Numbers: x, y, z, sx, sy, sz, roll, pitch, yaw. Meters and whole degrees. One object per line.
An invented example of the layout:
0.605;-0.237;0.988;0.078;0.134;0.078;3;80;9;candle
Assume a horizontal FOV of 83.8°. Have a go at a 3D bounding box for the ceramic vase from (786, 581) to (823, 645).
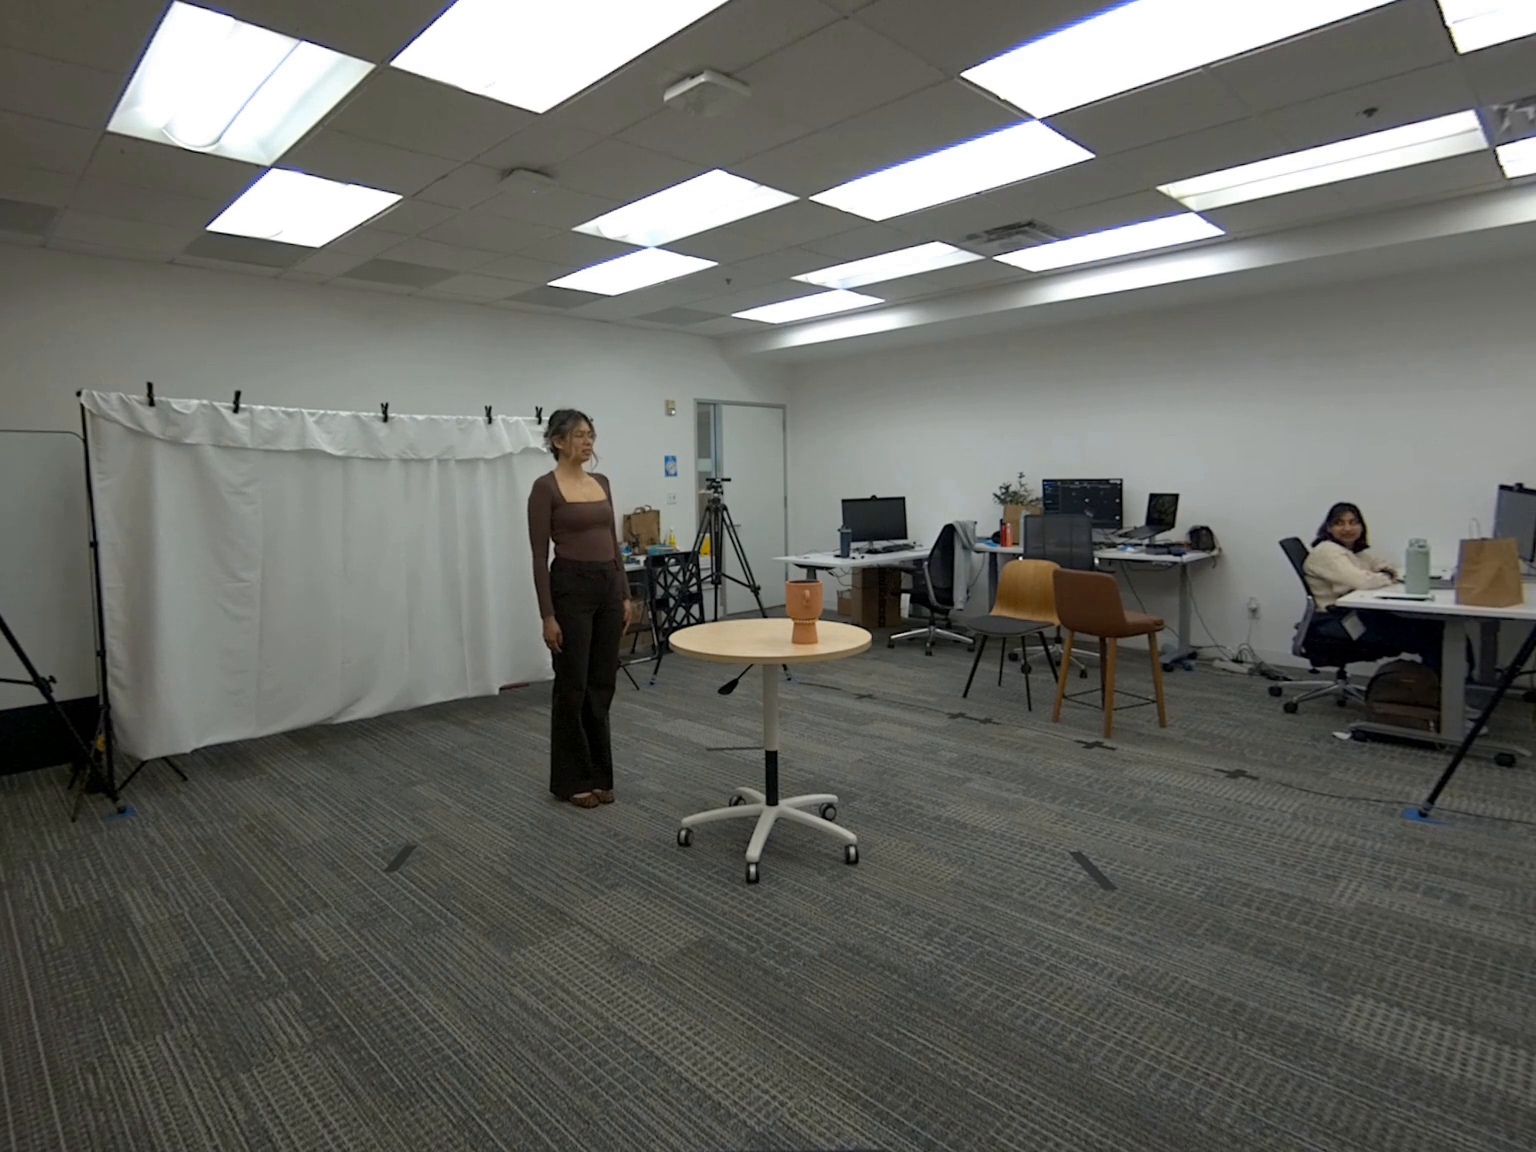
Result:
0.136;0.132;3.105;0.138;0.219;0.155;2;6;35;ceramic vase
